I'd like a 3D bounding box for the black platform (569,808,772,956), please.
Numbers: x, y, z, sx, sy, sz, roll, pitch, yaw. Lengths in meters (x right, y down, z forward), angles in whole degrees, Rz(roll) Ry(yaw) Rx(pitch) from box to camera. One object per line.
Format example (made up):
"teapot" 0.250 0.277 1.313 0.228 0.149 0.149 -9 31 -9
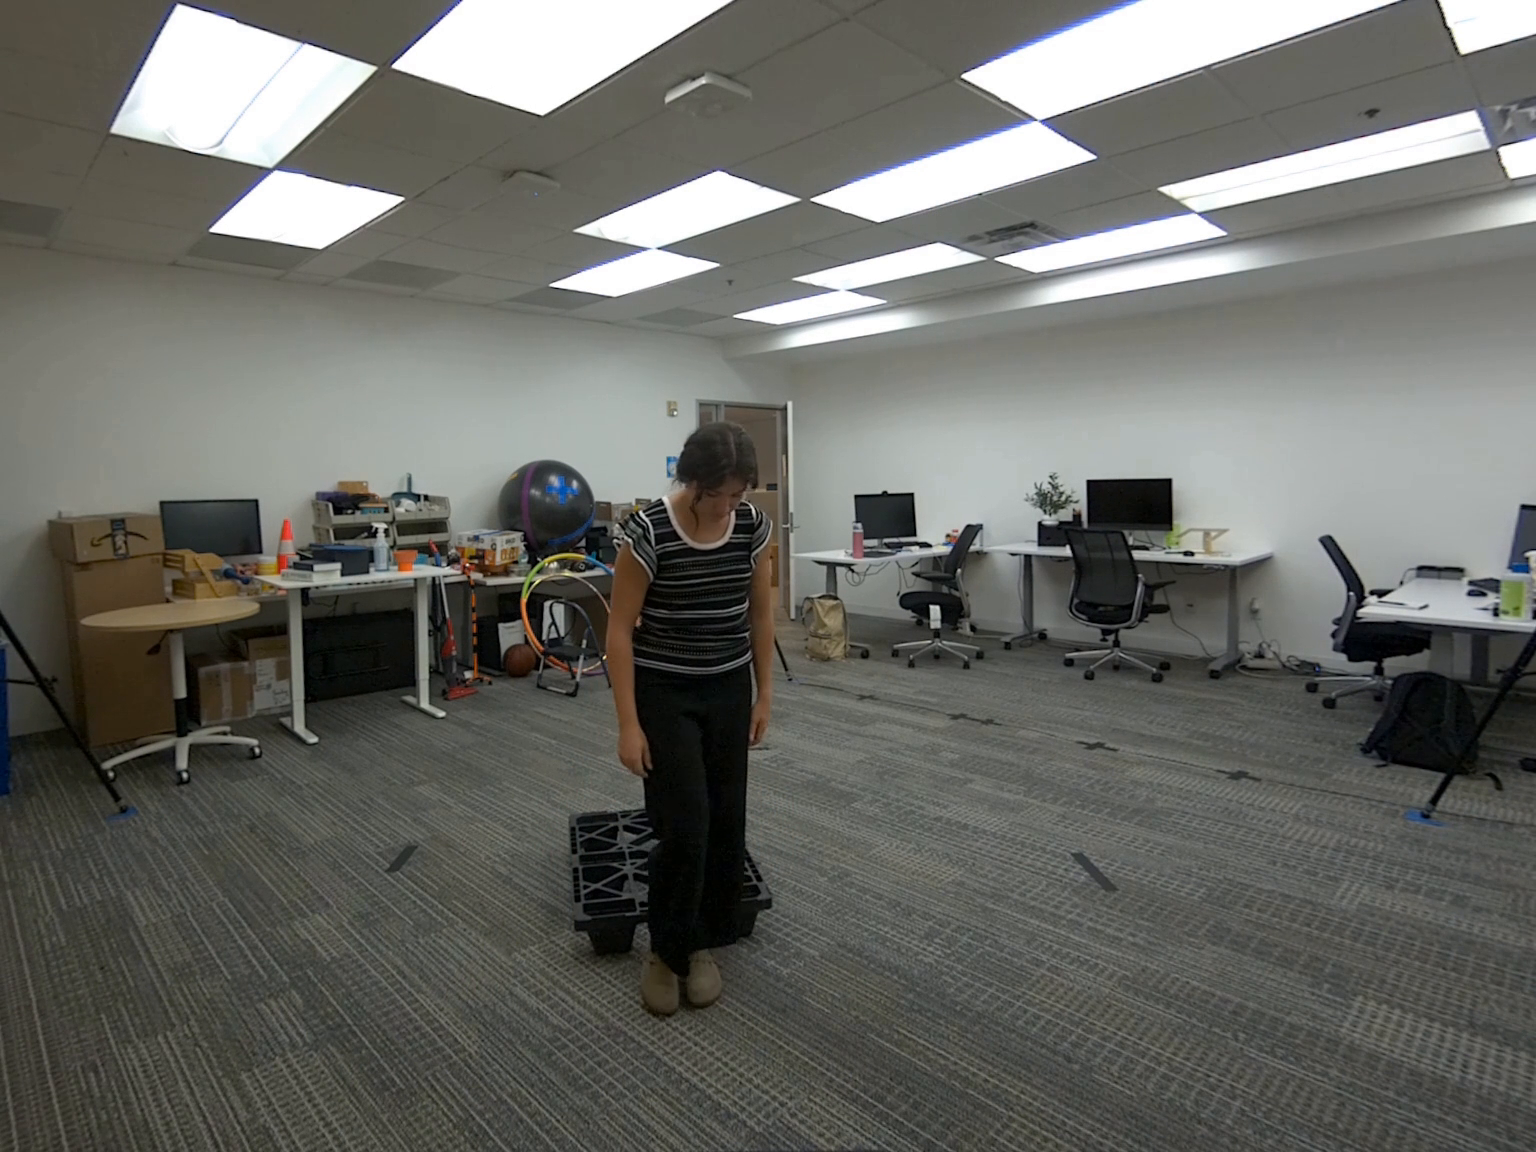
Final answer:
"black platform" -0.370 1.005 2.917 0.598 0.142 0.819 -4 7 -13
